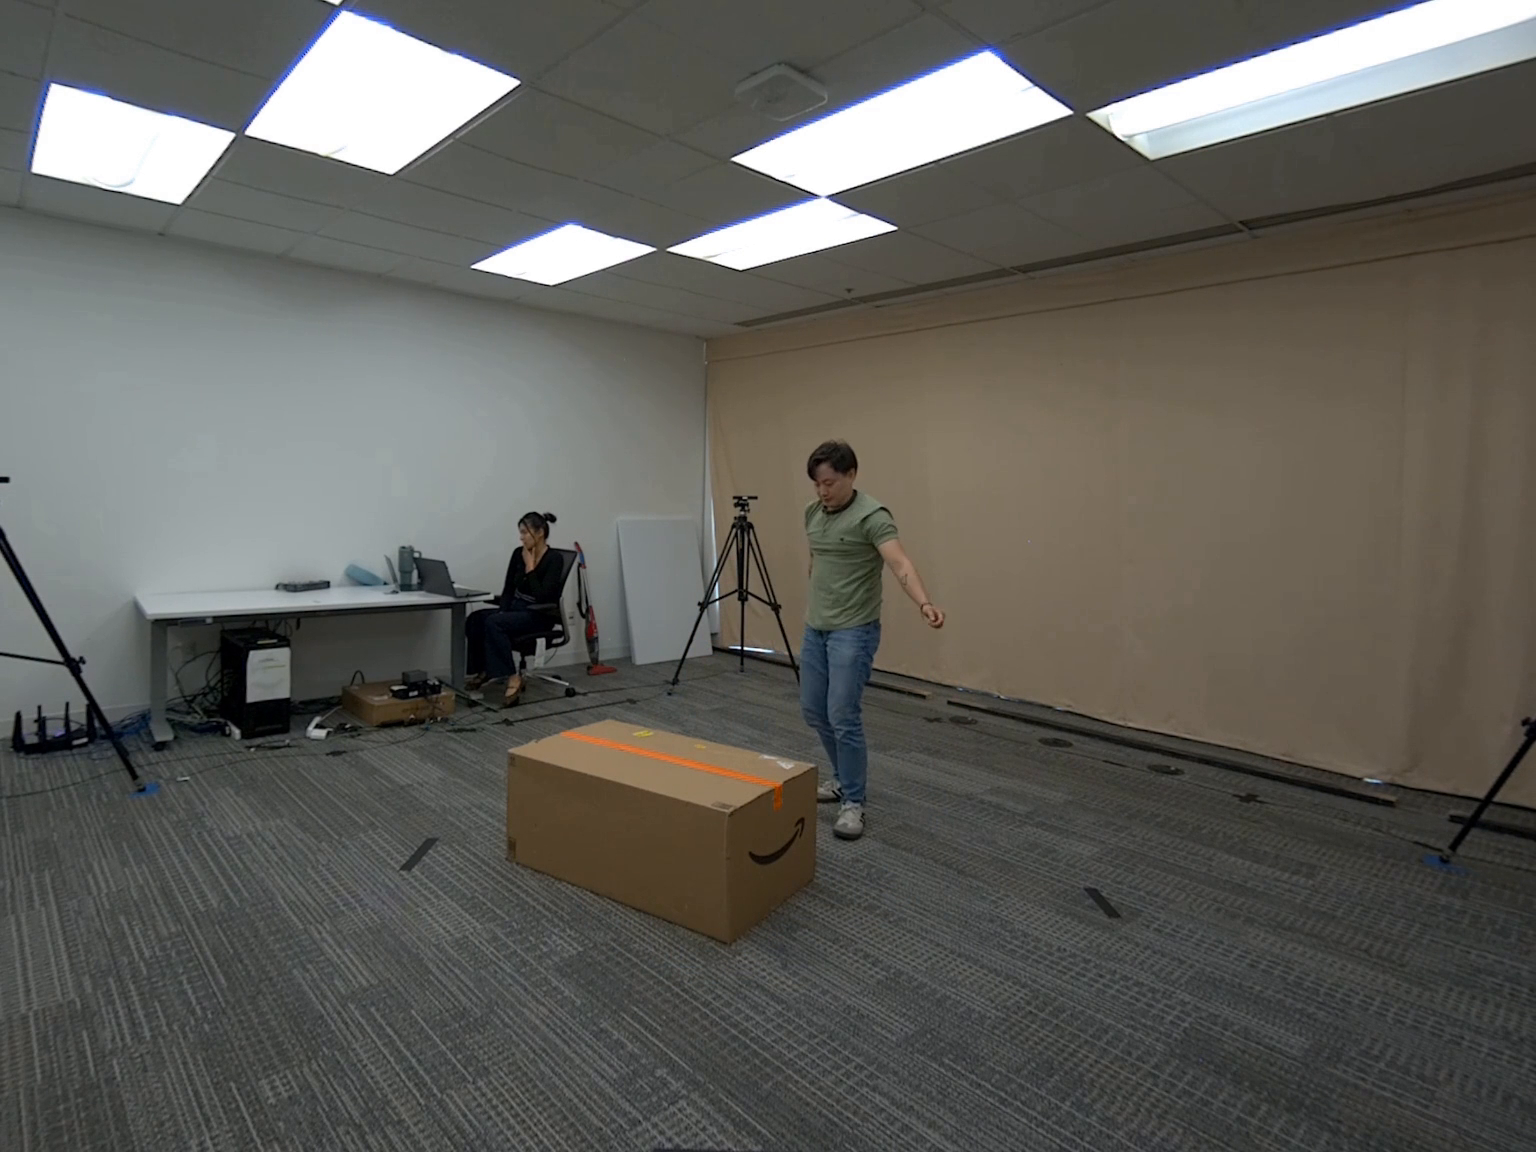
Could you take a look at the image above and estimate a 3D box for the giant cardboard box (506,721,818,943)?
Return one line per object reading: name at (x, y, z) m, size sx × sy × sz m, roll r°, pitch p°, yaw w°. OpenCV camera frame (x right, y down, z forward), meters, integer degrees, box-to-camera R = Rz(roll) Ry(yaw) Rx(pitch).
giant cardboard box at (-0.411, 0.880, 3.121) m, size 1.050 × 0.425 × 0.565 m, roll 4°, pitch 5°, yaw 33°
